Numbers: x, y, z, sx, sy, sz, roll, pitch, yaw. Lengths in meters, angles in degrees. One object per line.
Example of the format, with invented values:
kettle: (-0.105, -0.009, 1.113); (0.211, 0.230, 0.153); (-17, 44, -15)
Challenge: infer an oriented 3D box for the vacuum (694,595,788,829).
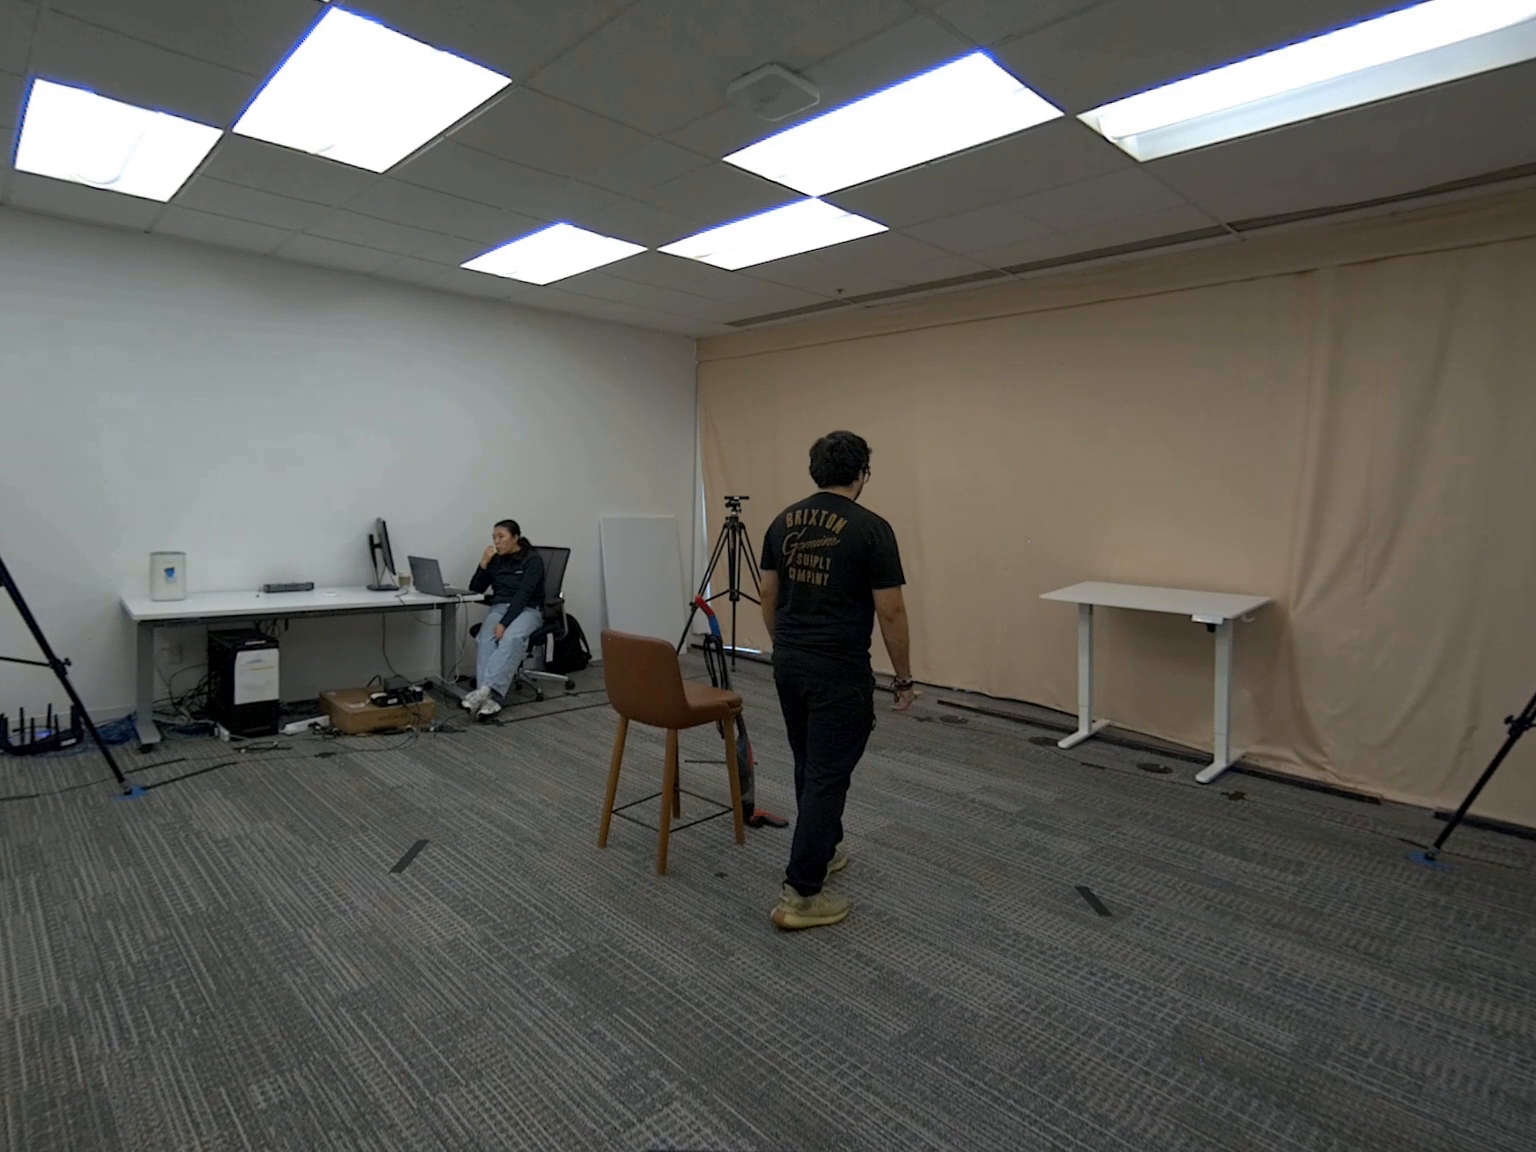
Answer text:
vacuum: (-0.166, 0.576, 3.511); (0.259, 1.035, 0.142); (3, 22, 44)
